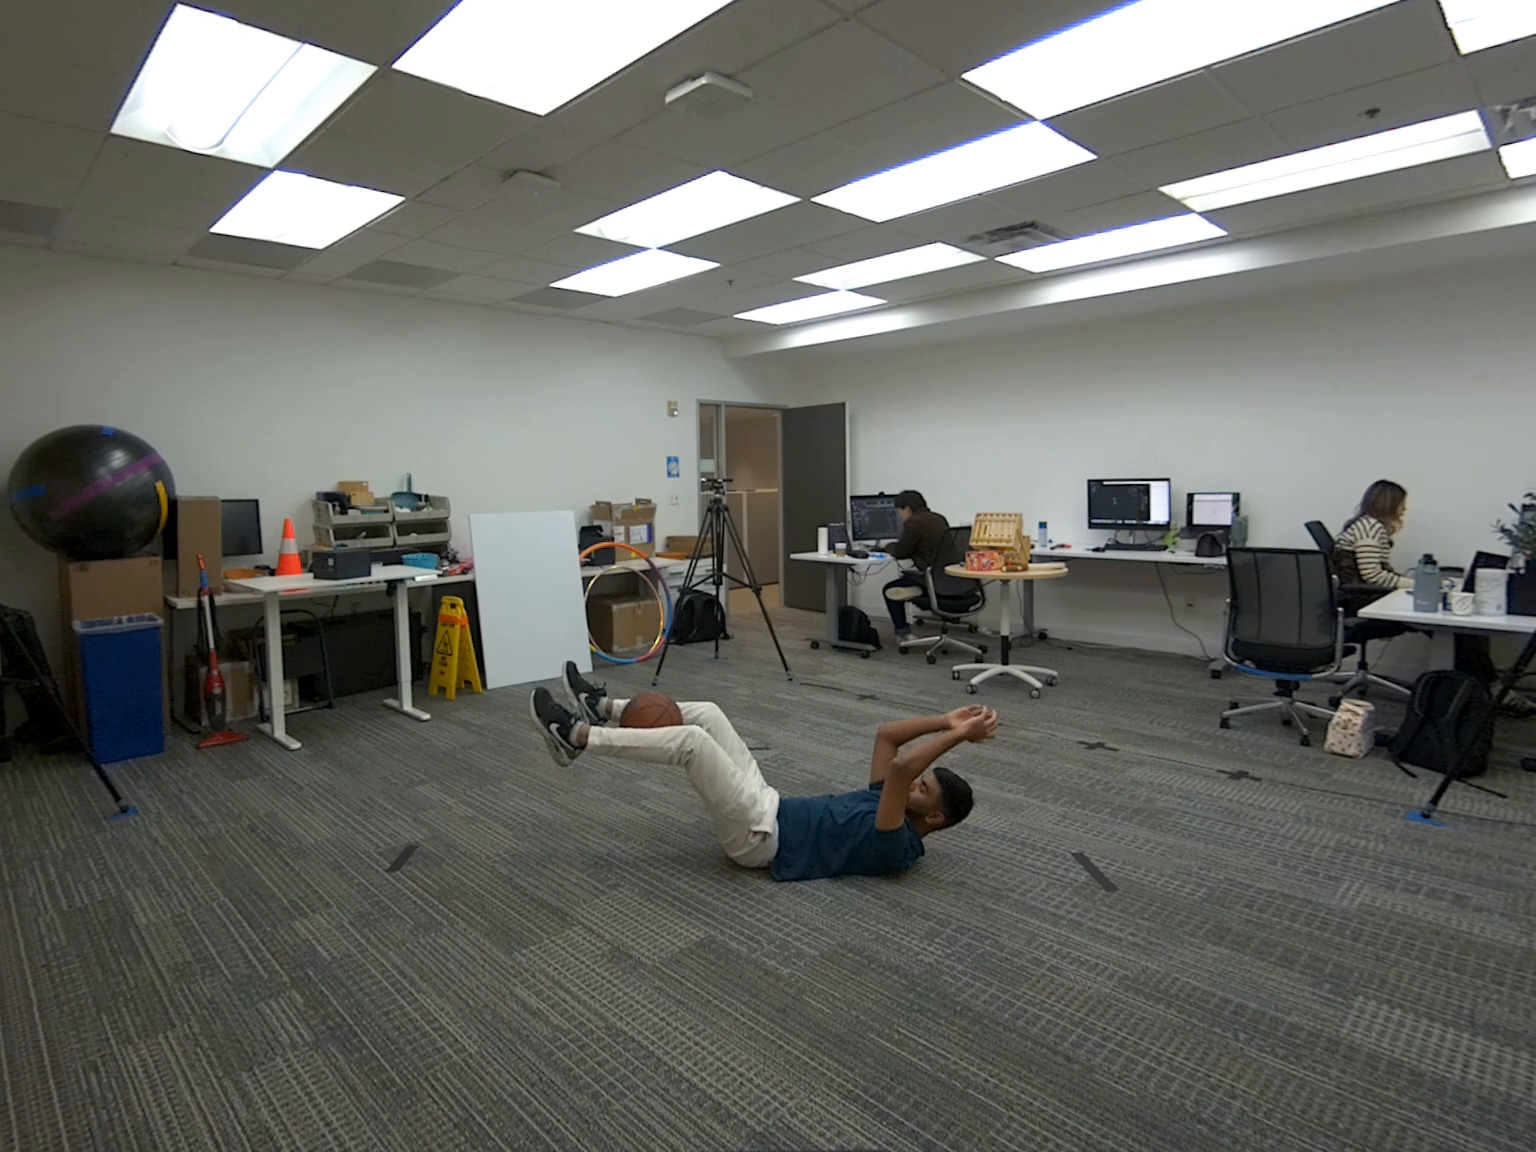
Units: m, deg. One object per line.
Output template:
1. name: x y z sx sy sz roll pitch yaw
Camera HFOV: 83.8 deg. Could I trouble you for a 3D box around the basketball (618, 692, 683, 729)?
1. basketball: -0.429 0.553 3.193 0.236 0.235 0.237 -1 5 -2
